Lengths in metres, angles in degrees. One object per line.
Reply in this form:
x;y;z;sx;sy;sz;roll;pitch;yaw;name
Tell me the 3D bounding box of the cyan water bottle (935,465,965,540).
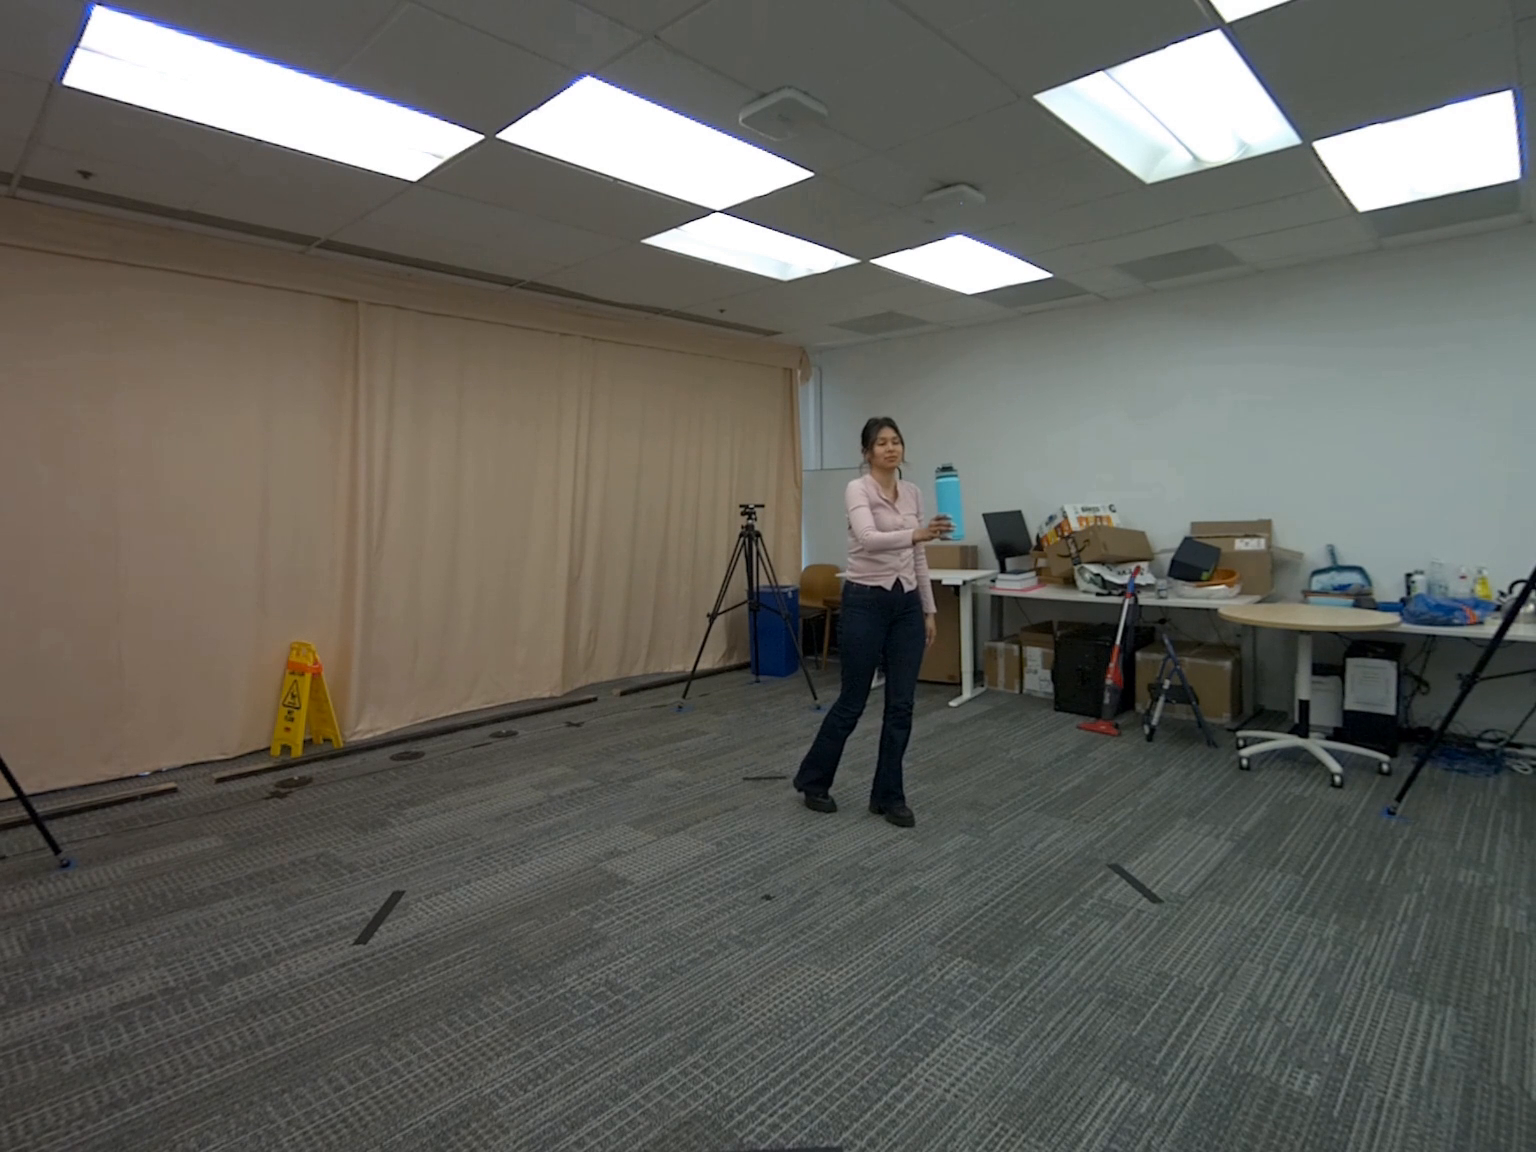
0.675;-0.273;3.107;0.092;0.283;0.092;-9;0;-2;cyan water bottle
